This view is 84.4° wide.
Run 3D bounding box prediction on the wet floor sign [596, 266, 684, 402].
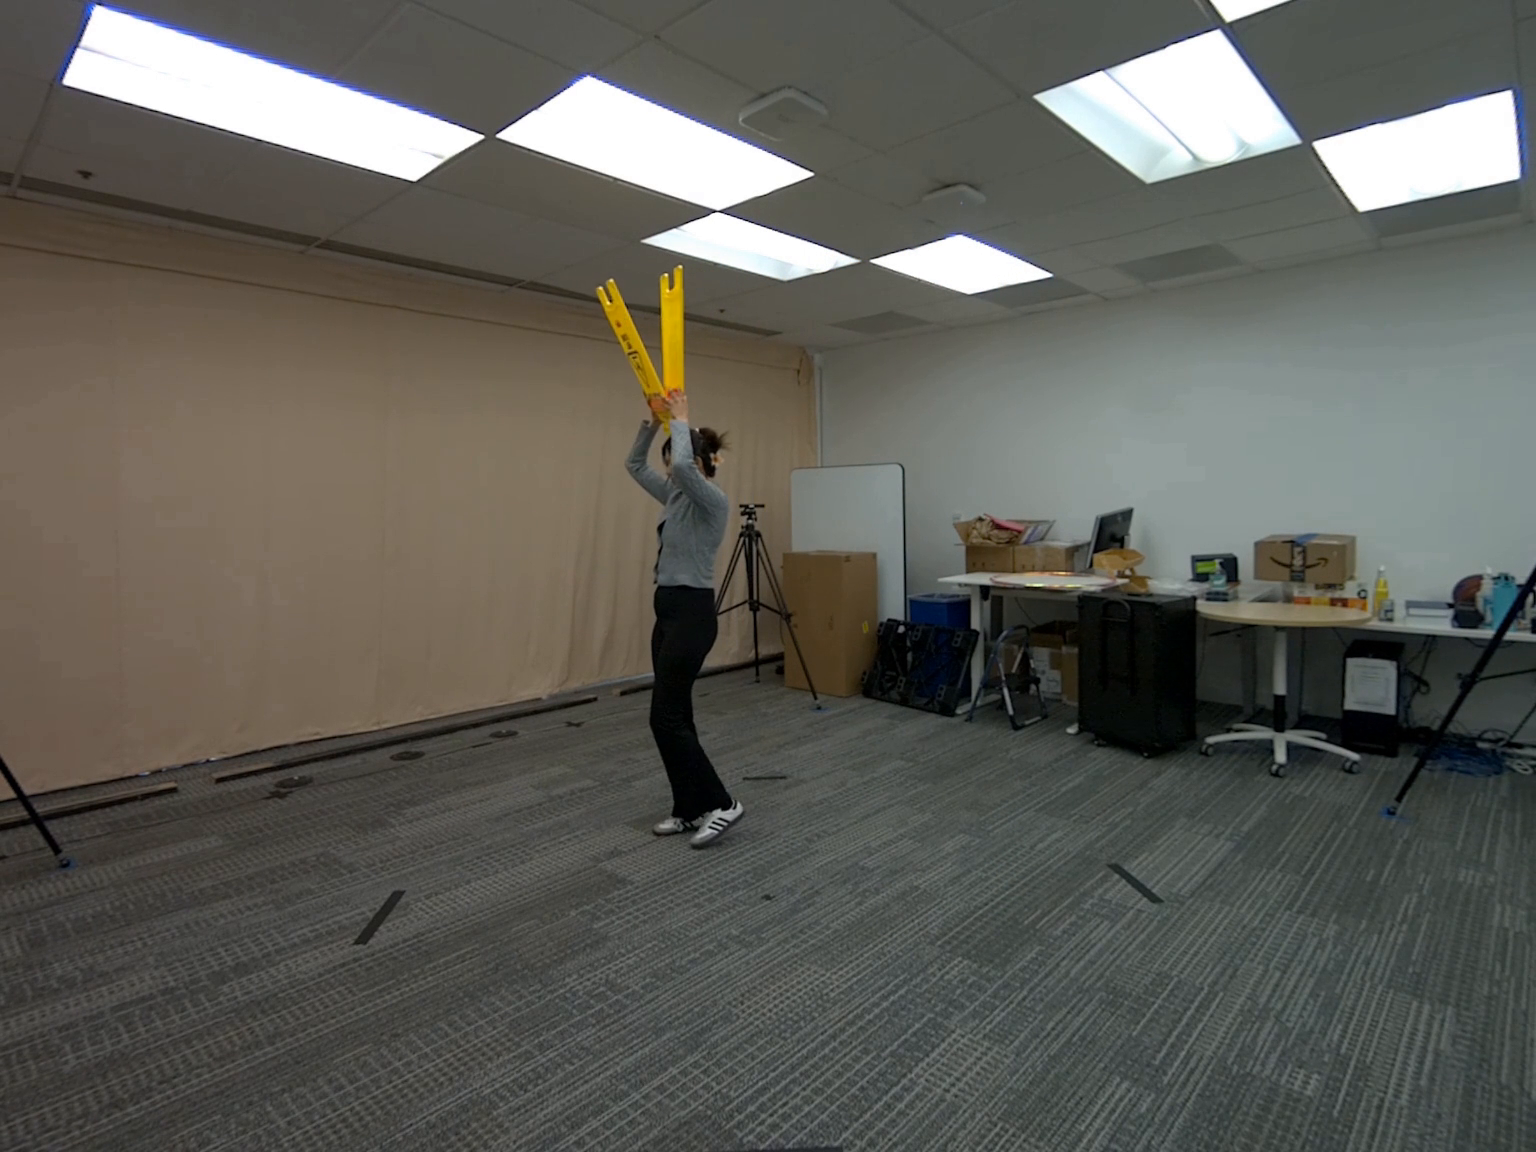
[{"bbox_3d":[-0.449,-0.893,3.451,0.286,0.638,0.289,-17,15,-16],"label":"wet floor sign"}]
